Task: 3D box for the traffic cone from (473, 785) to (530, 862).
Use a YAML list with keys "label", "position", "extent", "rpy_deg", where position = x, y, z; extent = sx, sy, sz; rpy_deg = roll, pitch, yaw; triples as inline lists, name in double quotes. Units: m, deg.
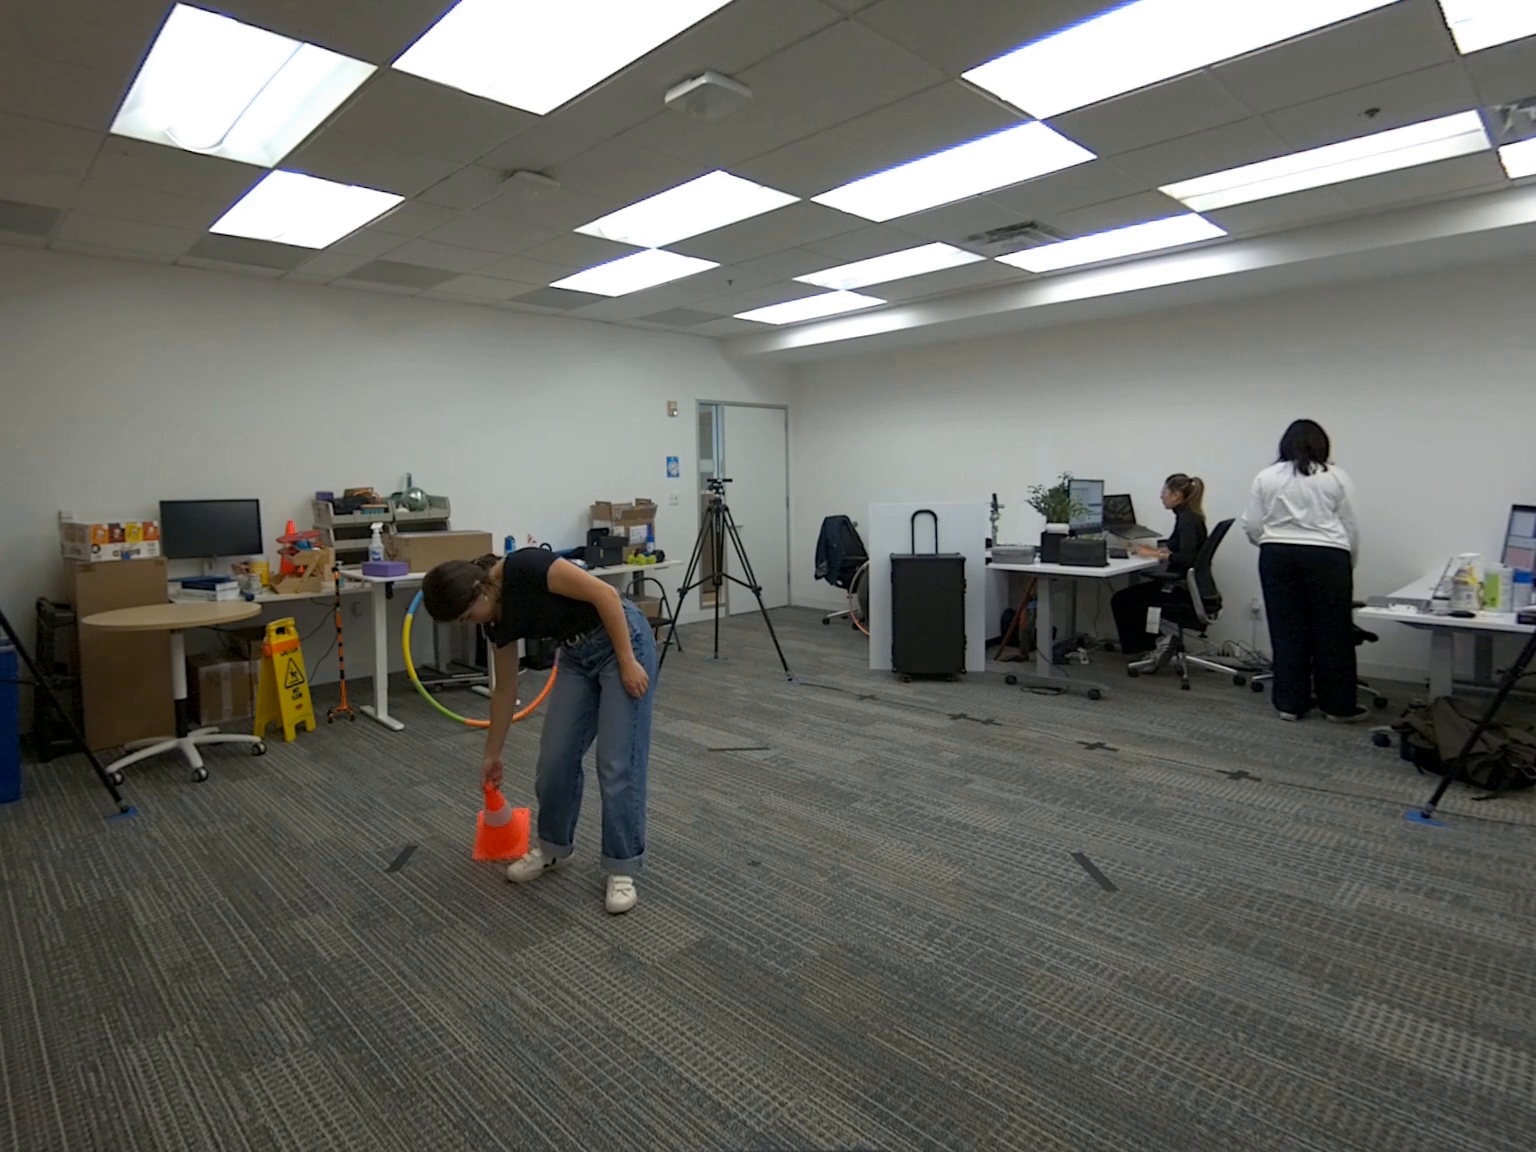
- label: "traffic cone"
  position: [-0.987, 0.859, 3.132]
  extent: [0.201, 0.375, 0.212]
  rpy_deg: [-6, 48, -13]
